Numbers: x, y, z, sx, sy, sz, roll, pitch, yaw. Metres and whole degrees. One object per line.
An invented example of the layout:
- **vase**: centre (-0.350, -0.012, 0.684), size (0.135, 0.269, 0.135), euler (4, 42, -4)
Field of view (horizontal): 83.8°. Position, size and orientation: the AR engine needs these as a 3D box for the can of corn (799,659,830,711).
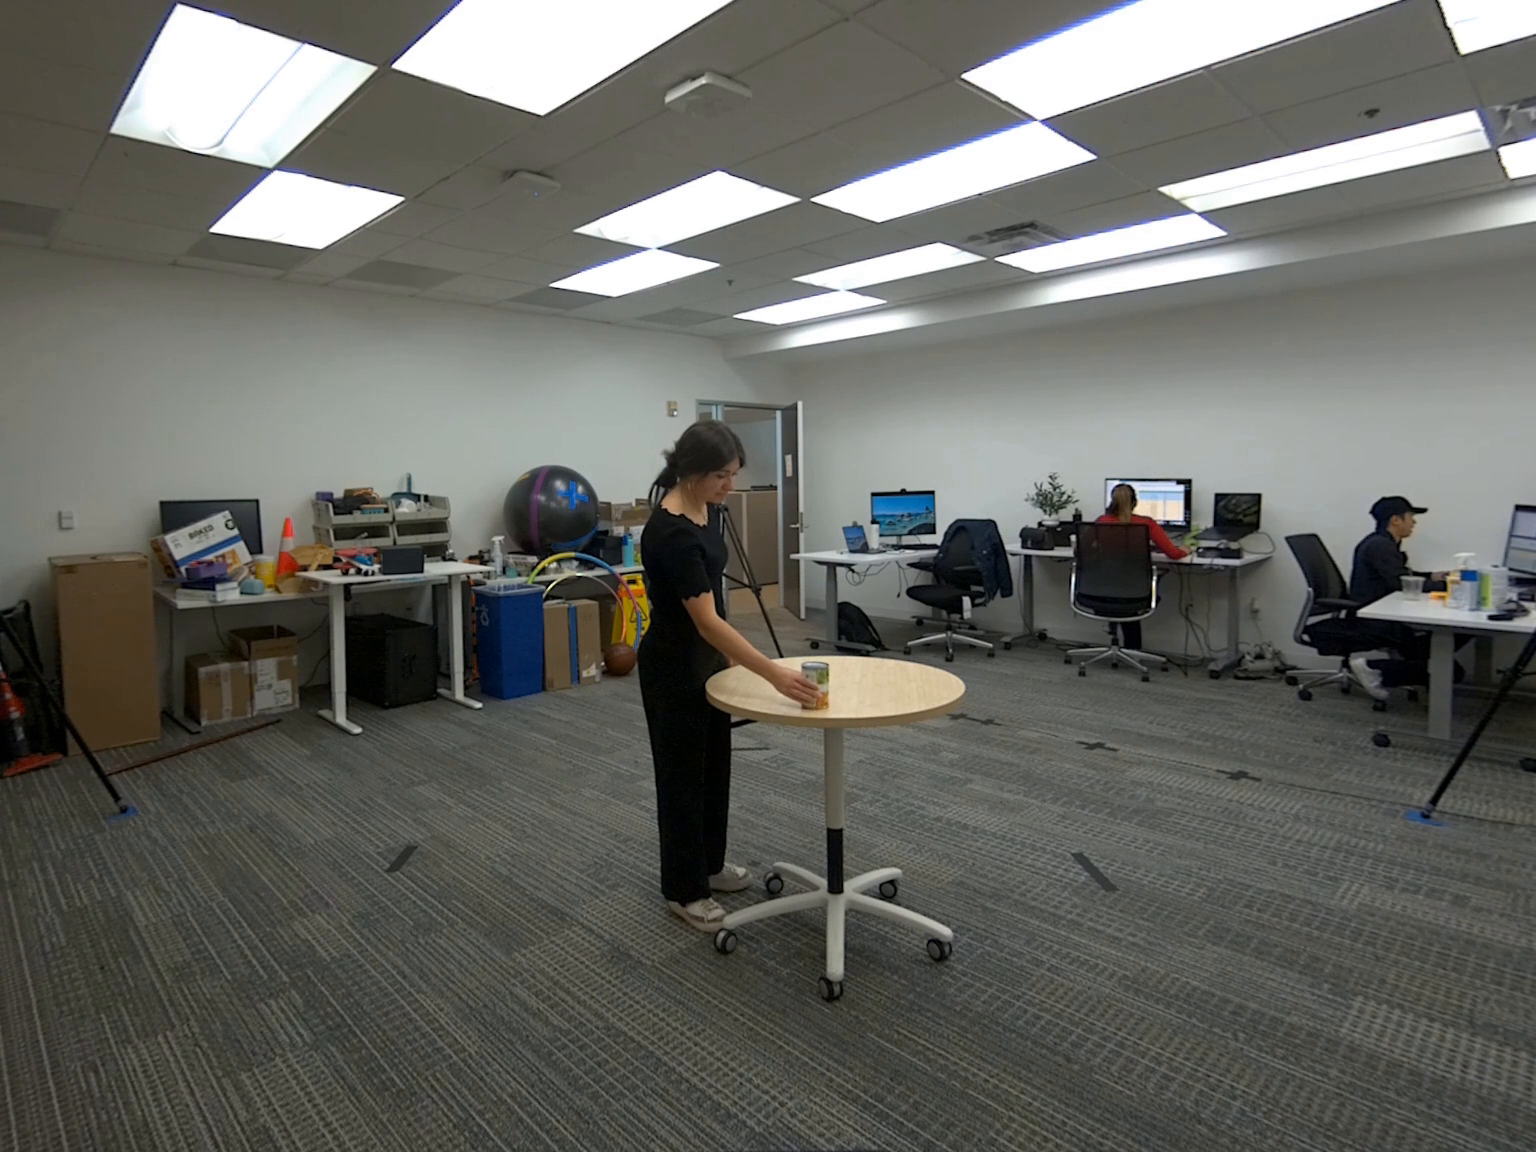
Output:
- **can of corn**: centre (0.122, 0.291, 2.299), size (0.074, 0.110, 0.074), euler (-3, 5, -1)
